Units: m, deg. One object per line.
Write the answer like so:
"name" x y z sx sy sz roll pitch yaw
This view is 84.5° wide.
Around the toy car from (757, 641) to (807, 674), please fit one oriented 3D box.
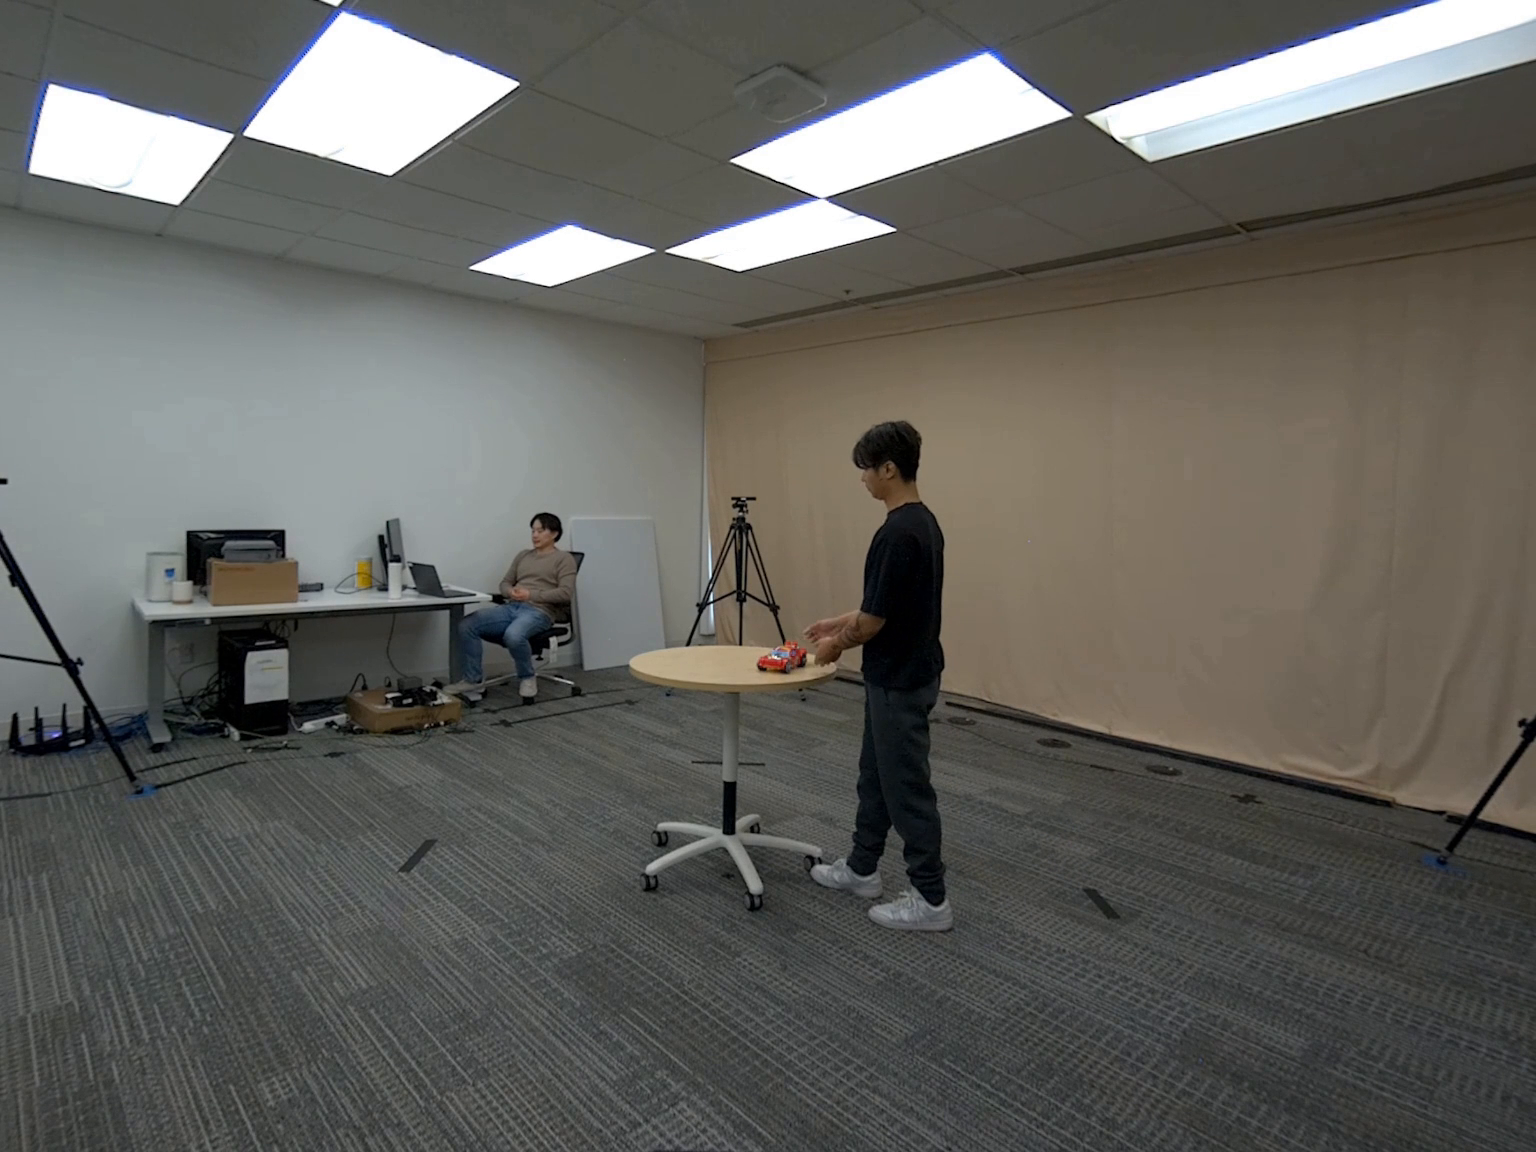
"toy car" 0.053 0.300 3.042 0.133 0.082 0.252 2 16 25
